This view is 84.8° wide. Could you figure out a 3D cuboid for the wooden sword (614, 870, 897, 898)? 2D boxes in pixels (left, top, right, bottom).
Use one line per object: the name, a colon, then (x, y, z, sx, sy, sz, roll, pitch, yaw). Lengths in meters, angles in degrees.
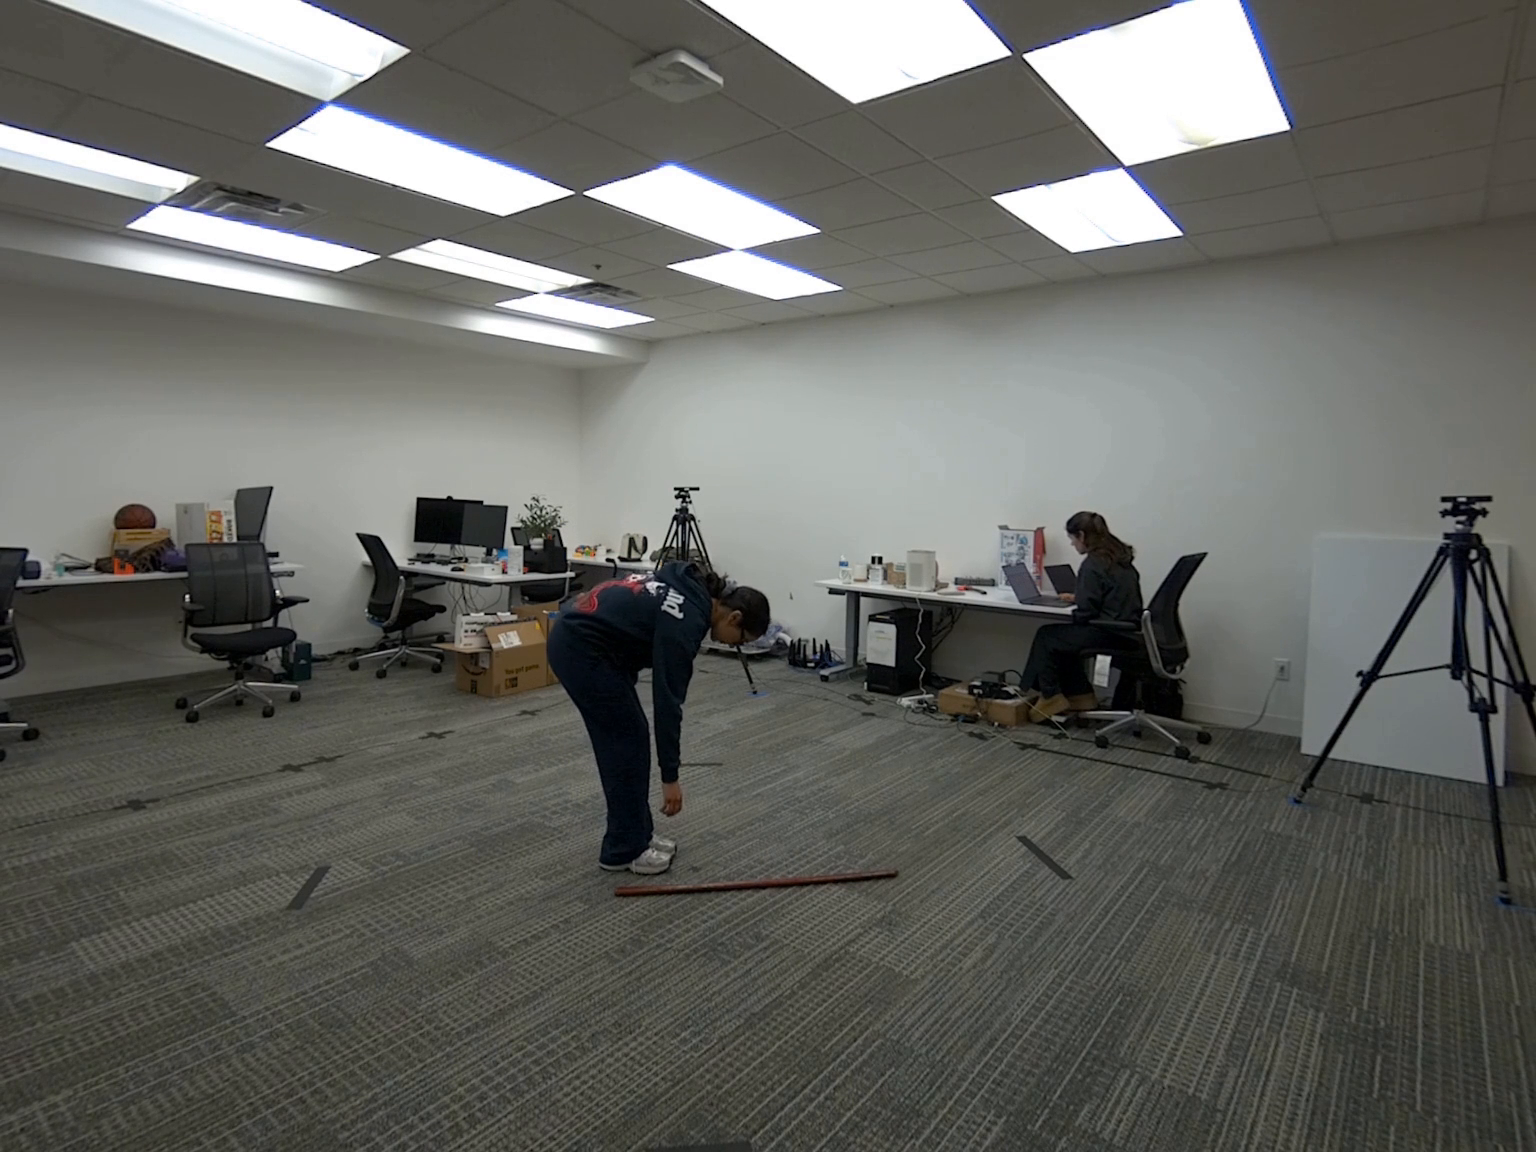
wooden sword: (-0.024, 1.069, 2.969, 1.011, 0.025, 0.050, 0, -34, -12)
